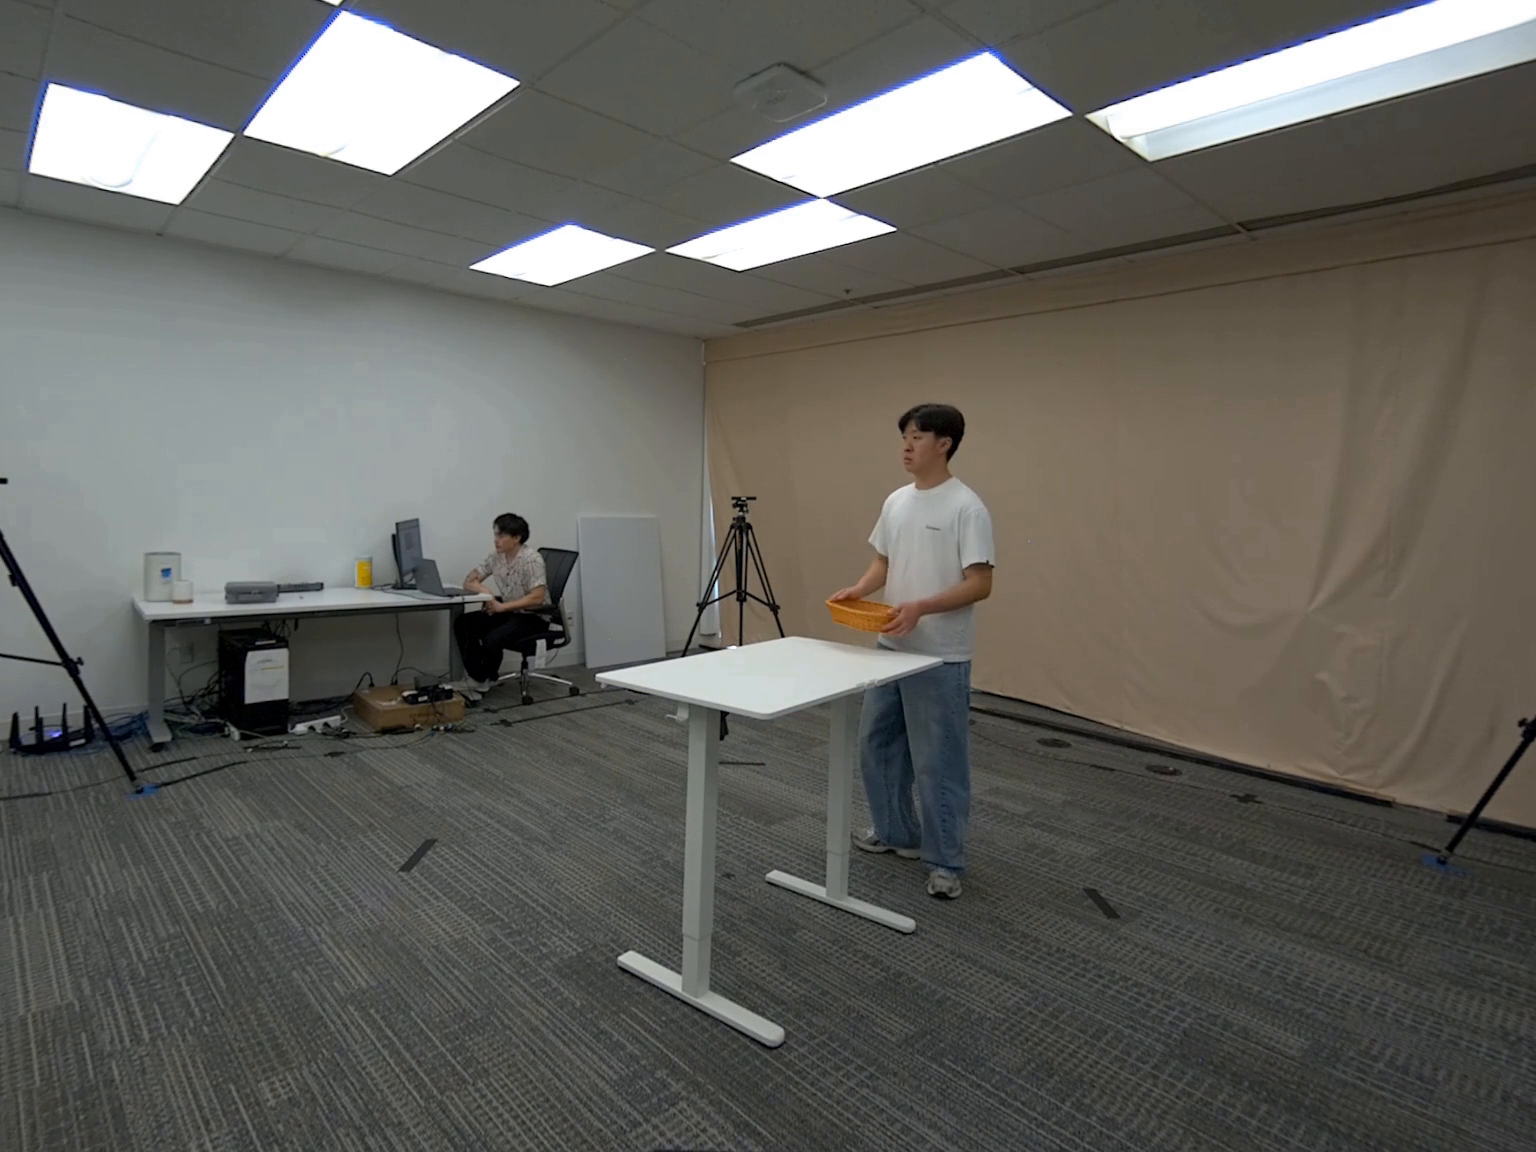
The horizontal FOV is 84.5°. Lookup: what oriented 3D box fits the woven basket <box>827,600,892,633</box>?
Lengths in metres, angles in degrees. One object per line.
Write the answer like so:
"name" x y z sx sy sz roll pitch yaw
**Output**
"woven basket" 0.368 0.146 3.001 0.247 0.073 0.359 0 8 -29
